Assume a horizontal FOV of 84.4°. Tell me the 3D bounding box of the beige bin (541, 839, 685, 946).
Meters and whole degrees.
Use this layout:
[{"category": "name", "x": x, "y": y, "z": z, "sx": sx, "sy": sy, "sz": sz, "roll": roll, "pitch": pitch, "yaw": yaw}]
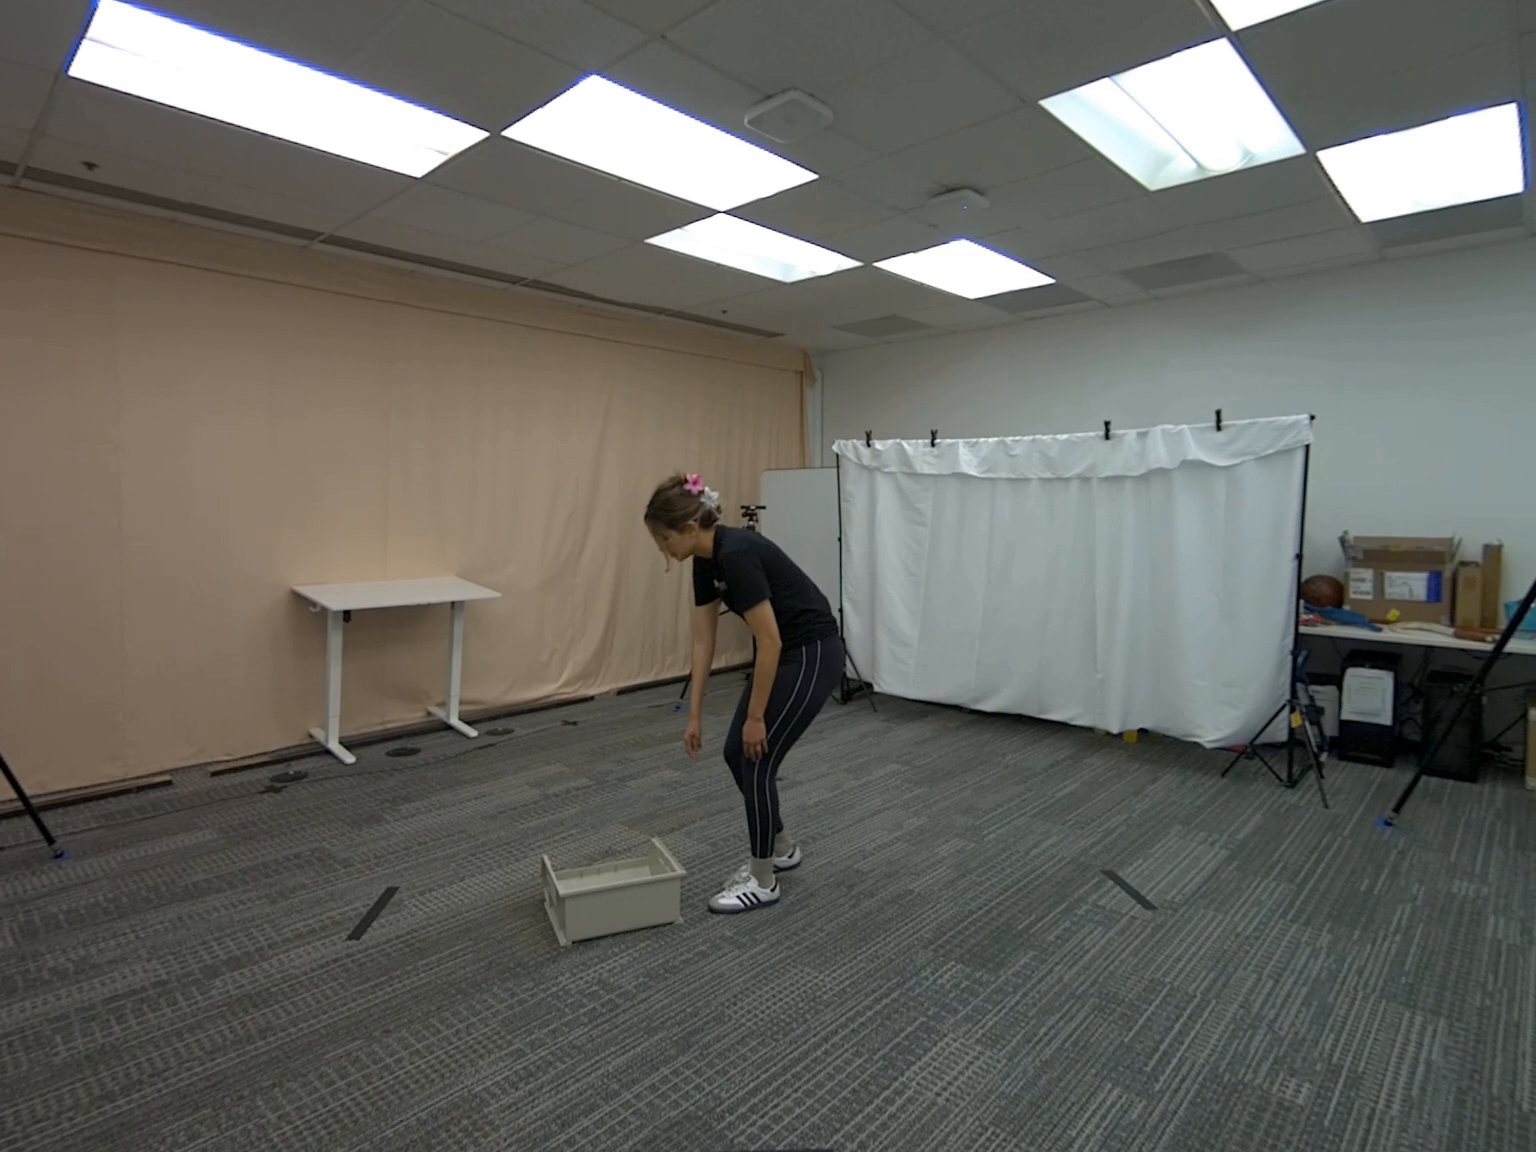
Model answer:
[{"category": "beige bin", "x": -0.536, "y": 1.064, "z": 2.894, "sx": 0.413, "sy": 0.188, "sz": 0.387, "roll": -1, "pitch": 5, "yaw": -23}]
